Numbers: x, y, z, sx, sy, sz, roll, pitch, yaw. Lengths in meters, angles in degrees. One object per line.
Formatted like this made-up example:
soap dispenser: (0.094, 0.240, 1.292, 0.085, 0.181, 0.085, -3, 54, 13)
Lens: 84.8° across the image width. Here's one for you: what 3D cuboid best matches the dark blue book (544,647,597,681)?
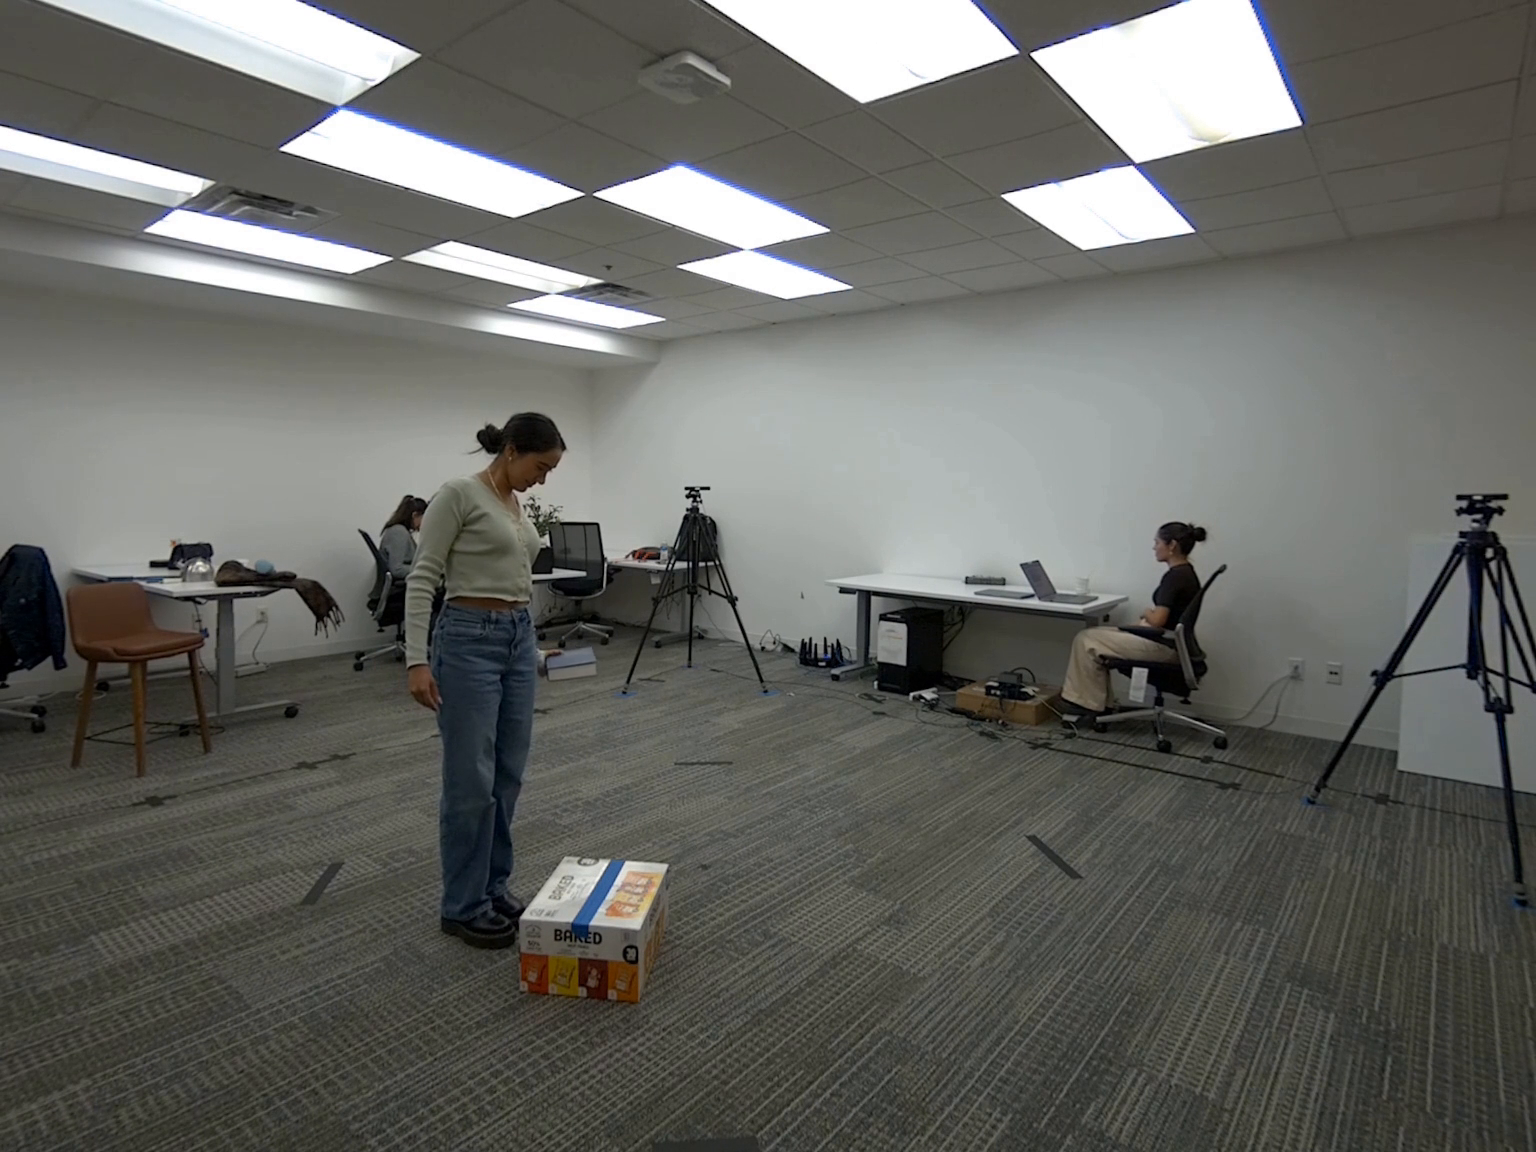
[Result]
dark blue book: (-0.699, 0.305, 2.895, 0.161, 0.045, 0.250, -7, 9, -13)
